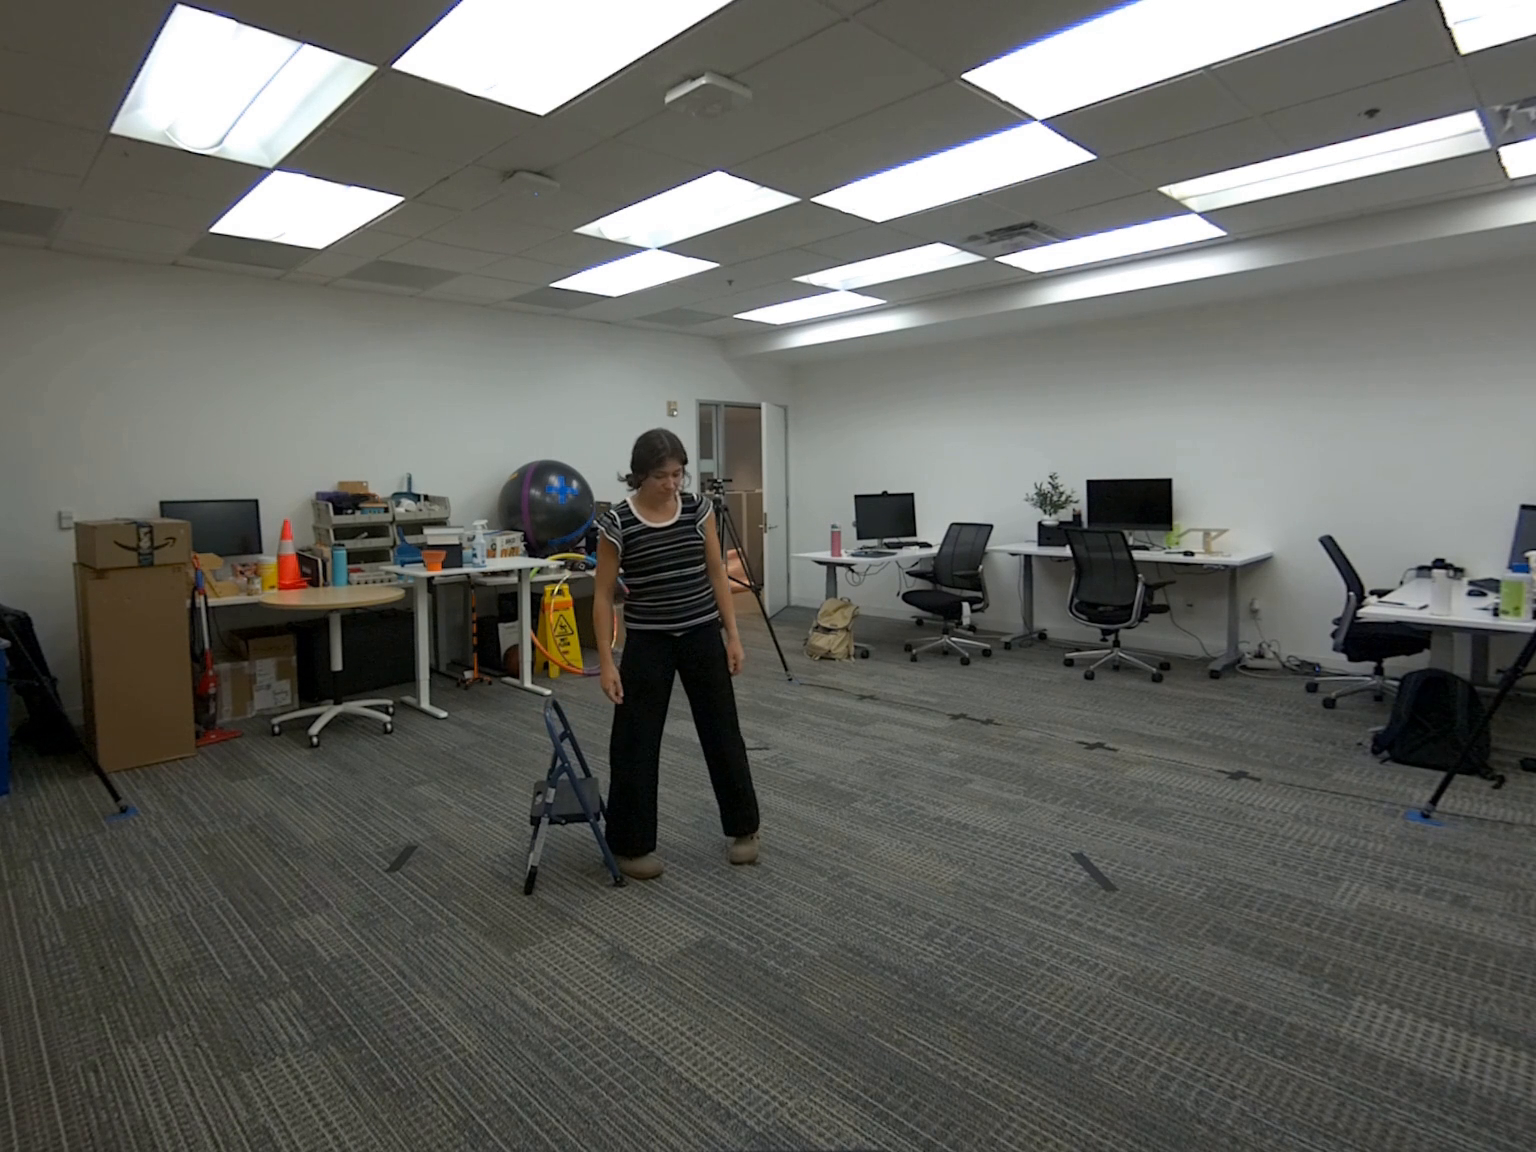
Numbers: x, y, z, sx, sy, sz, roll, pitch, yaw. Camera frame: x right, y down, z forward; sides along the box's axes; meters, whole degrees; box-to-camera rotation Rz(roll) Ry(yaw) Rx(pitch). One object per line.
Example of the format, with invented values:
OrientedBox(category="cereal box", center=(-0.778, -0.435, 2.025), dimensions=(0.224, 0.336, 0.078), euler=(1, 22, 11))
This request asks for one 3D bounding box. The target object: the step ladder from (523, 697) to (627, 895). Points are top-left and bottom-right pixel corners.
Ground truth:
OrientedBox(category="step ladder", center=(-0.708, 0.758, 3.108), dimensions=(0.346, 0.604, 0.437), euler=(-1, 4, -12))
